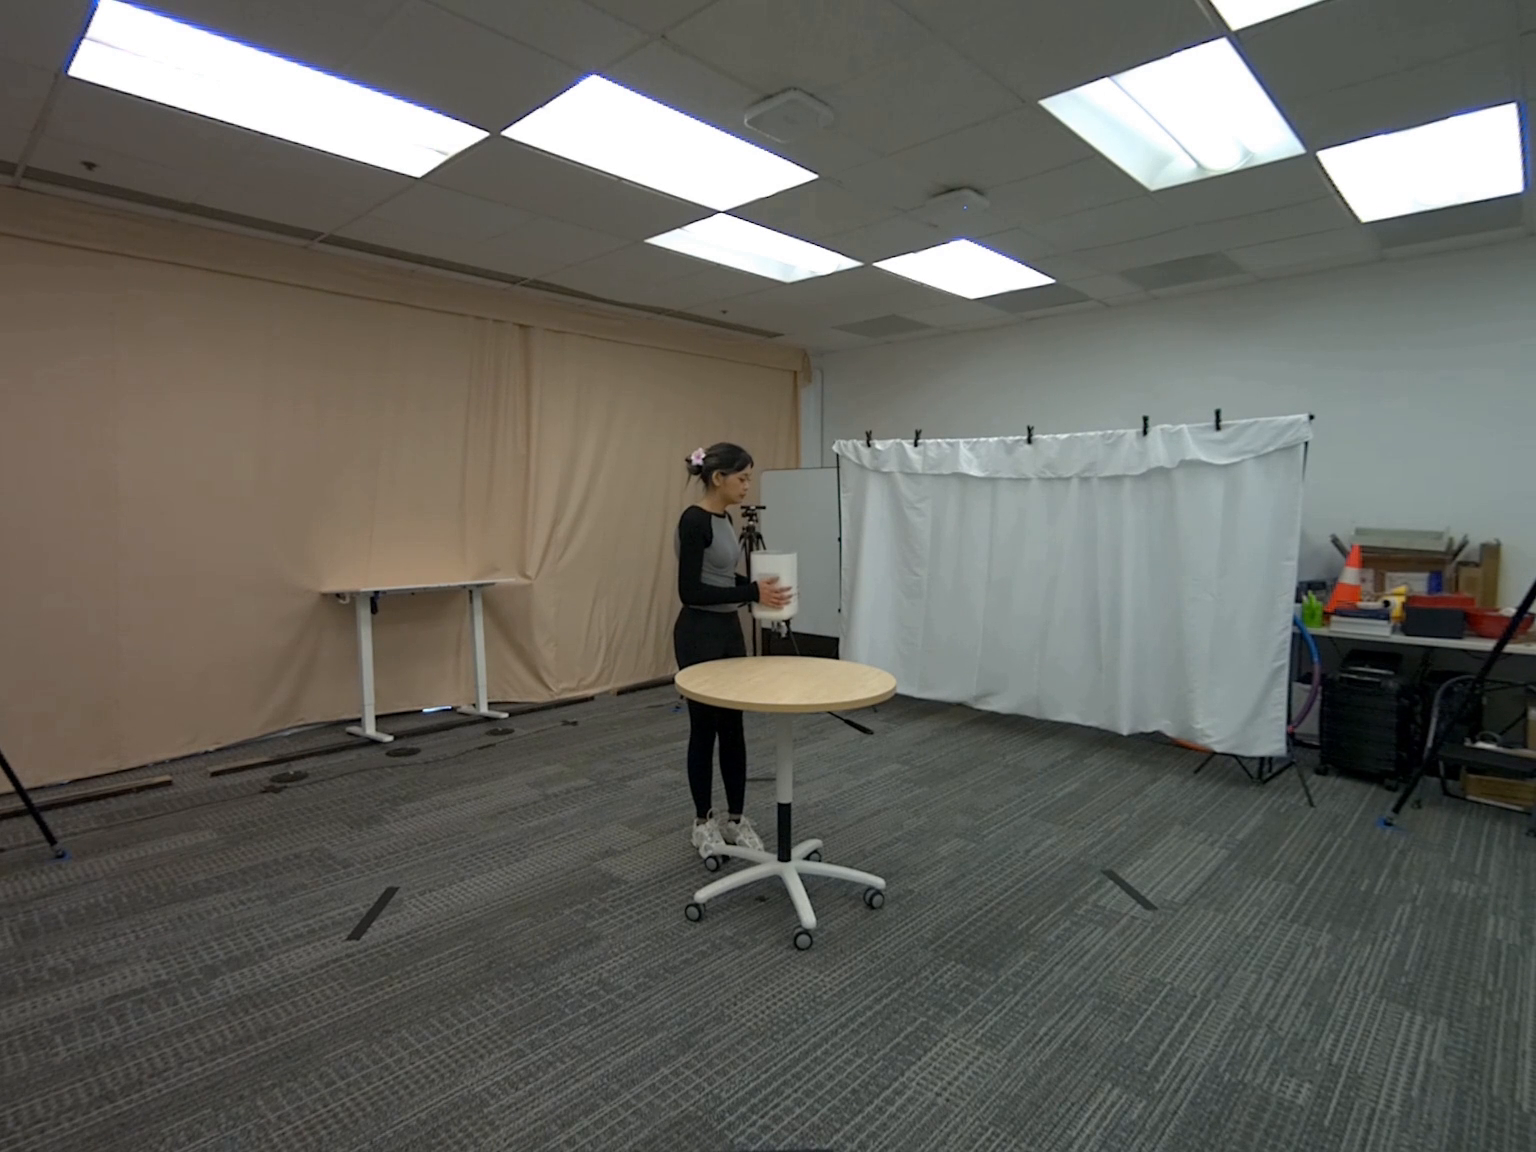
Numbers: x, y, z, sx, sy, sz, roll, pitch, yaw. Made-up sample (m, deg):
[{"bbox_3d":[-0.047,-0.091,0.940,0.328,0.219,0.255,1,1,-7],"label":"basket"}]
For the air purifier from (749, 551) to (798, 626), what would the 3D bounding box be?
[{"bbox_3d":[0.025,0.036,3.351,0.175,0.264,0.168,0,5,16],"label":"air purifier"}]
